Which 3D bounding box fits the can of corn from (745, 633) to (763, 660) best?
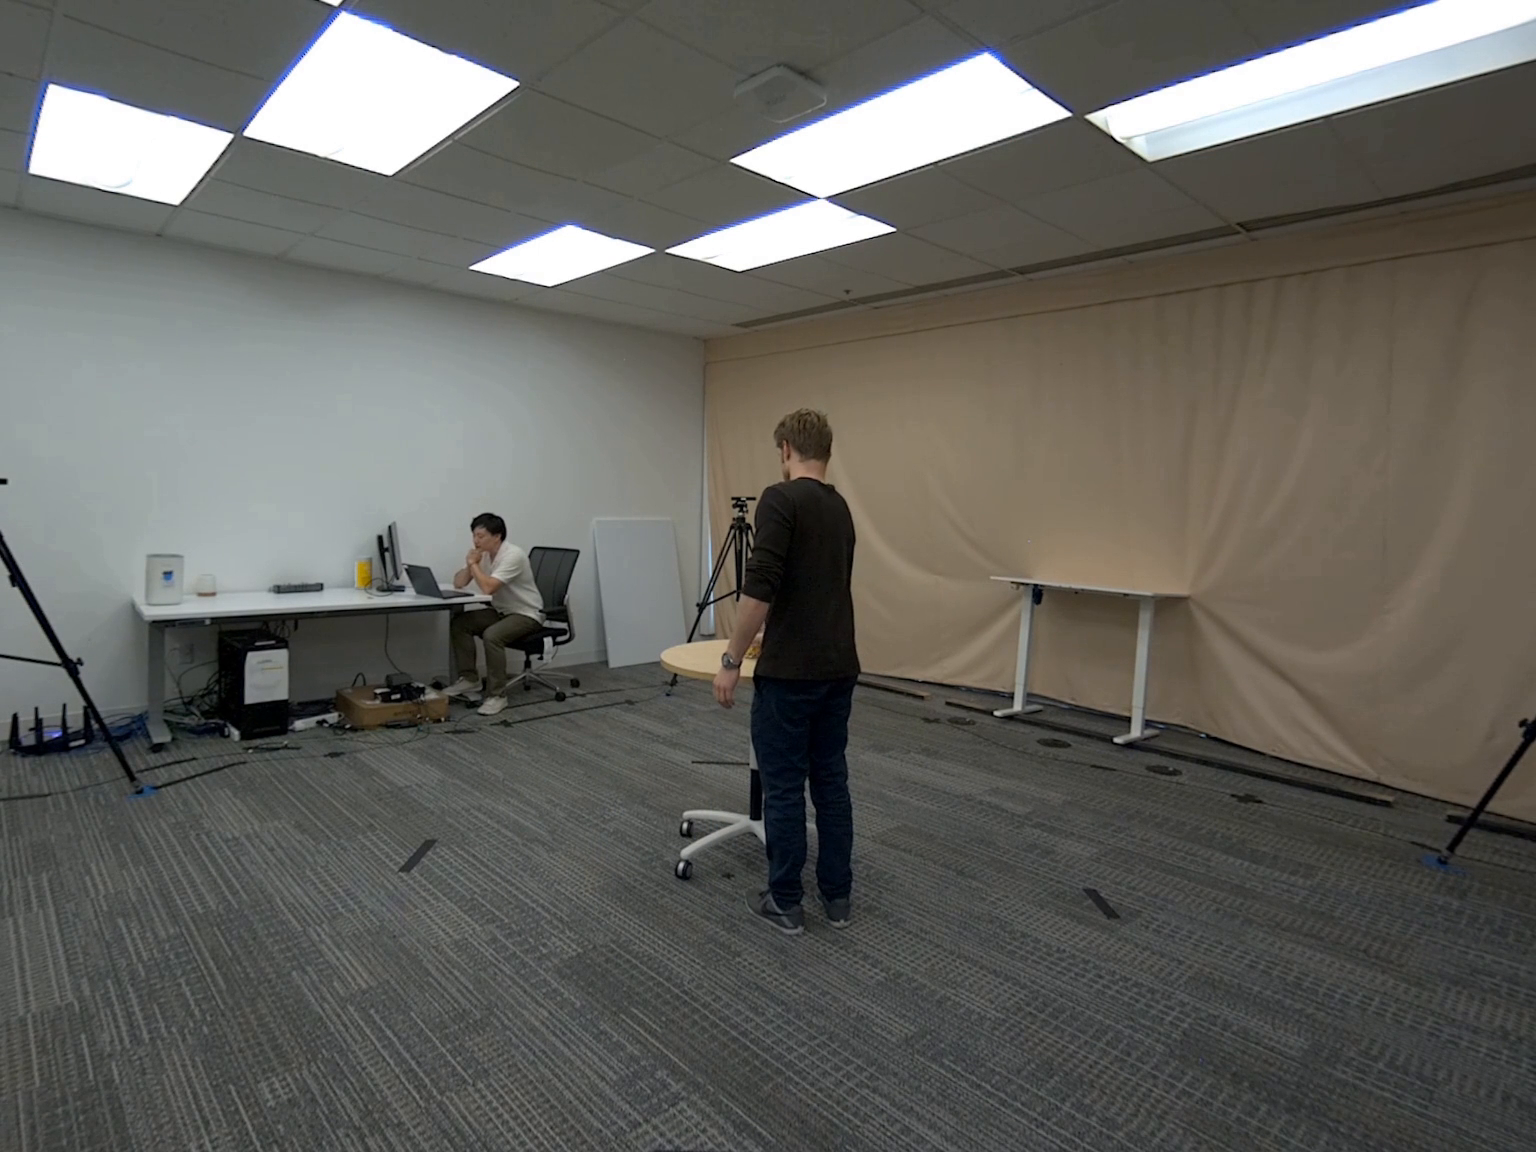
[{"bbox_3d":[-0.054,0.251,3.243,0.074,0.111,0.074,3,4,-2],"label":"can of corn"}]
